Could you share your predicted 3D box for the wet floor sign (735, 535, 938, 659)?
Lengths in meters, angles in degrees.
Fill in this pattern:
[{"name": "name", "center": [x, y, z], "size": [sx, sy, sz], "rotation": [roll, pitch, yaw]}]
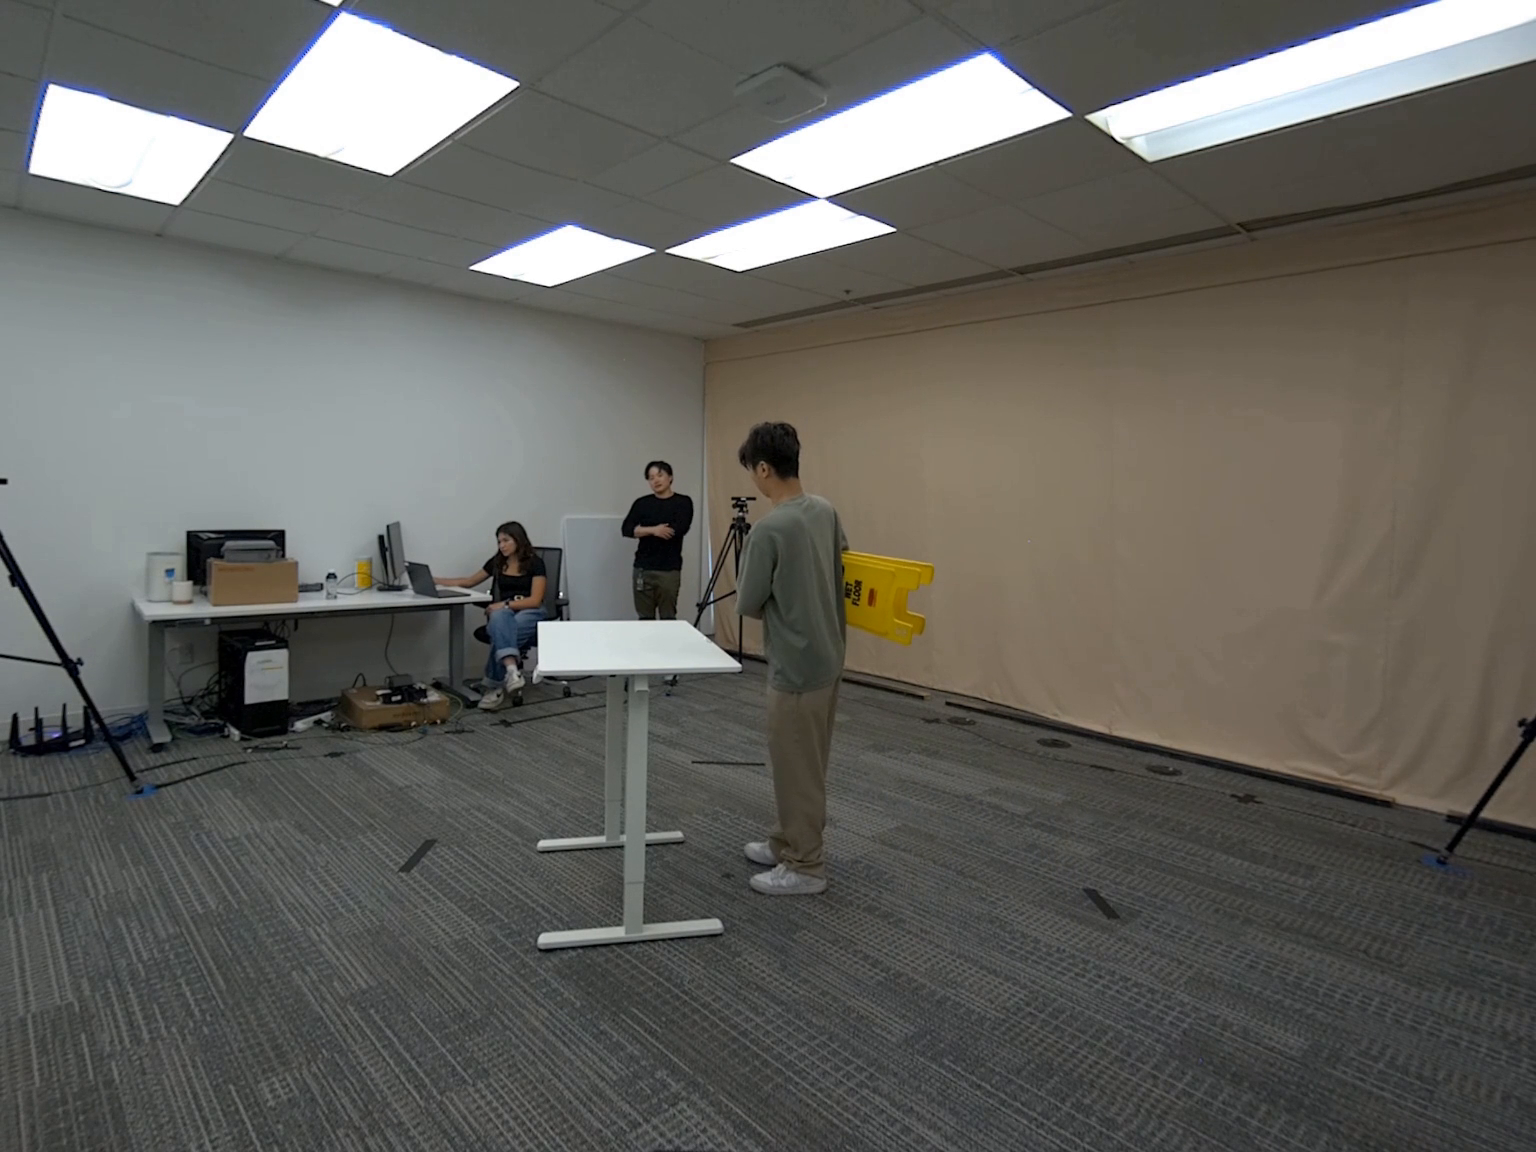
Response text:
[{"name": "wet floor sign", "center": [0.242, 0.036, 3.116], "size": [0.661, 0.279, 0.286], "rotation": [15, 18, 27]}]
